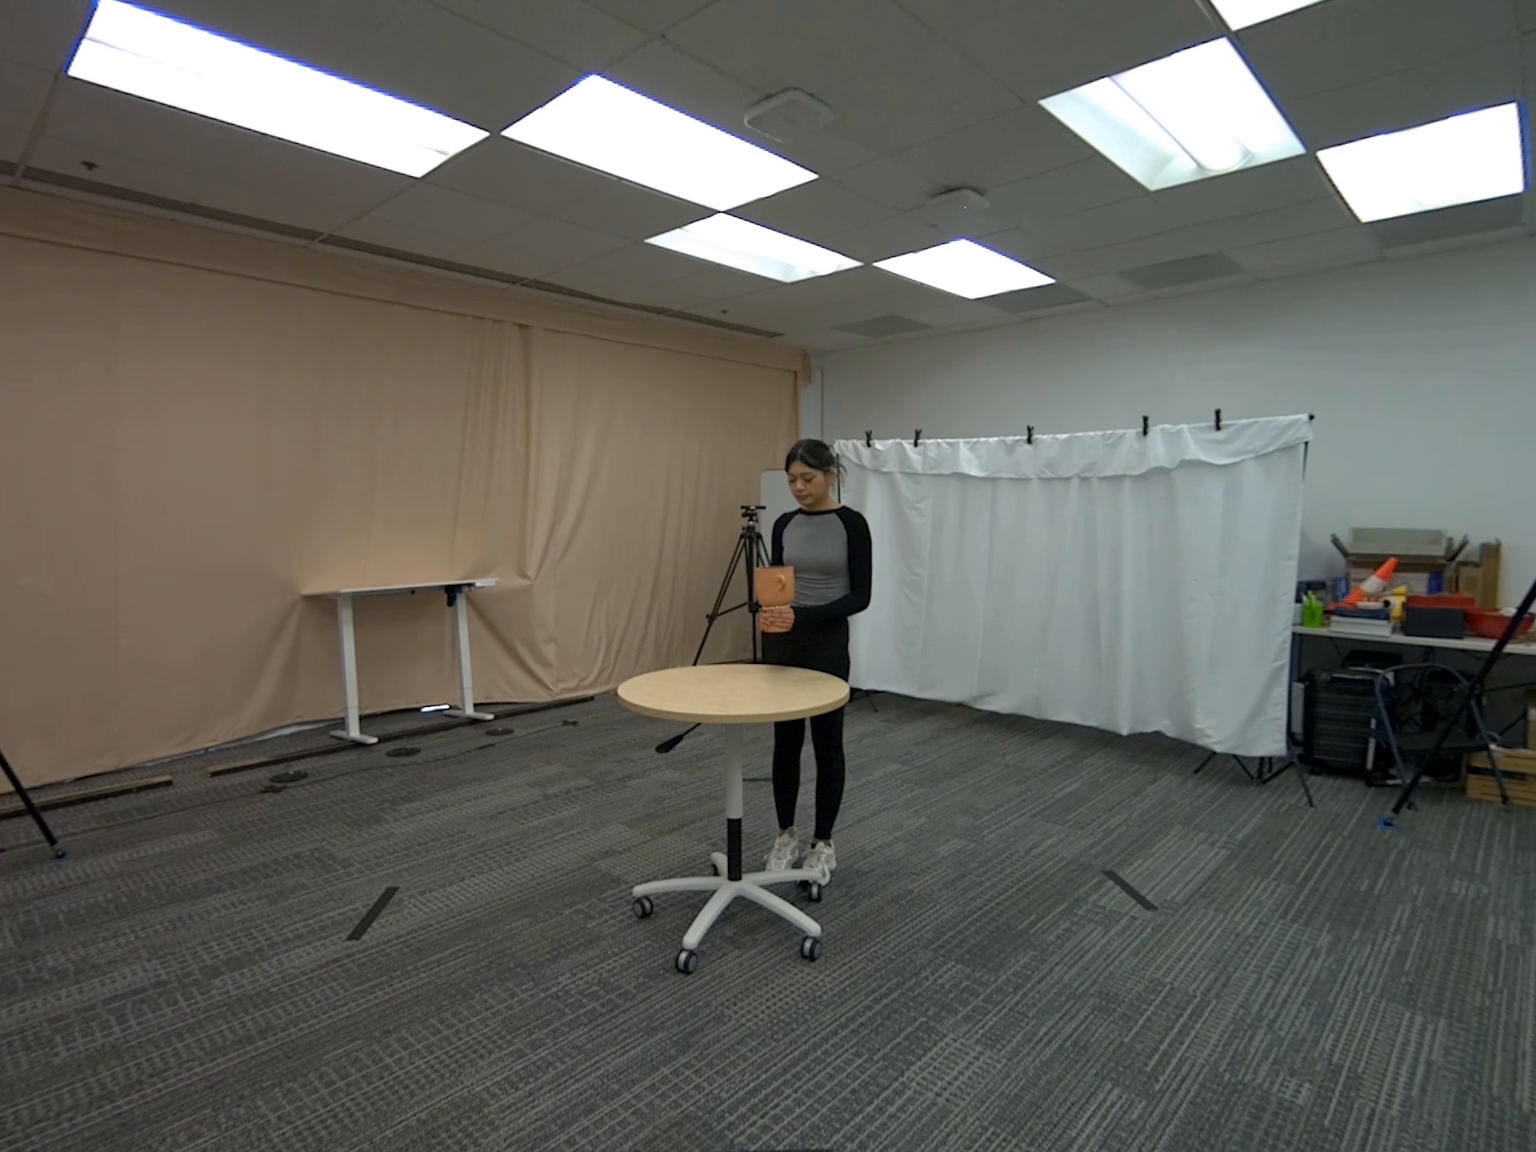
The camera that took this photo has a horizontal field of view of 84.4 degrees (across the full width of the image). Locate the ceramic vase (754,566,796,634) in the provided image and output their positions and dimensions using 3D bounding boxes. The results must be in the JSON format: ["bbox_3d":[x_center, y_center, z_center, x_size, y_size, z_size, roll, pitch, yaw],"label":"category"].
[{"bbox_3d":[0.020,0.081,2.943,0.137,0.219,0.155,-3,2,22],"label":"ceramic vase"}]
